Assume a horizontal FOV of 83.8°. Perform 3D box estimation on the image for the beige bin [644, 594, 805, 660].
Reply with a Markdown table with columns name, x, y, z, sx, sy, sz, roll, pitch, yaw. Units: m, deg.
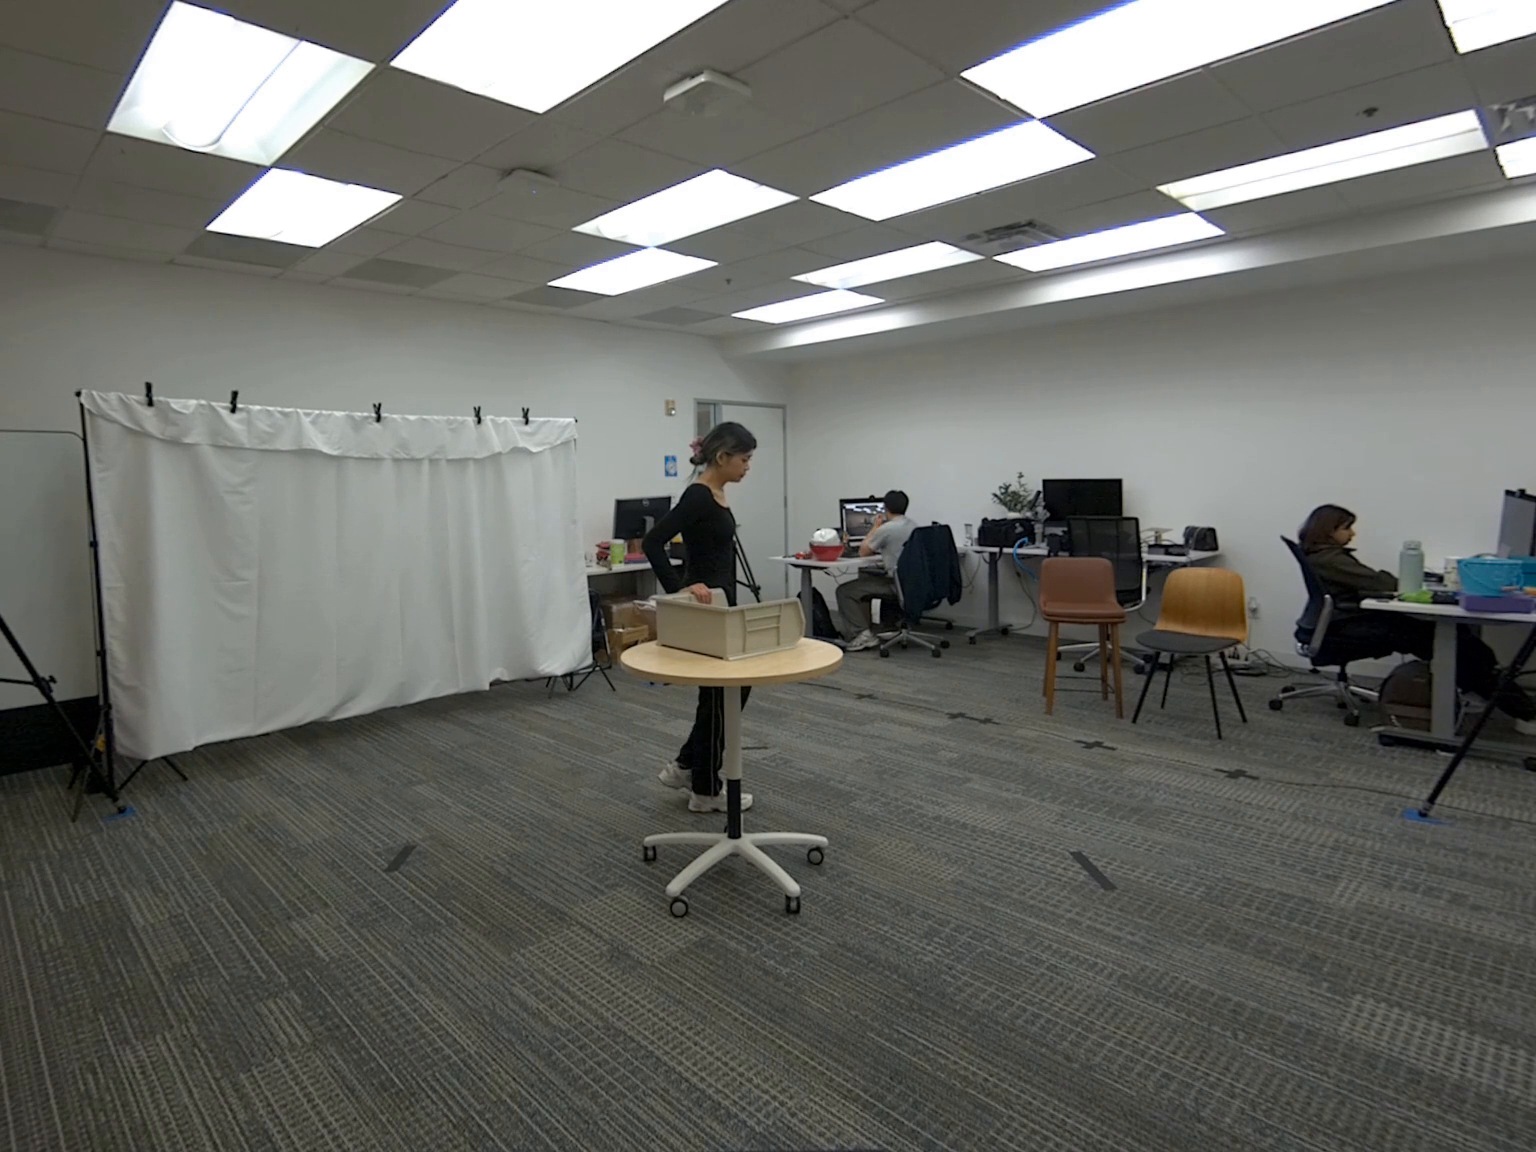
| name | x | y | z | sx | sy | sz | roll | pitch | yaw |
| --- | --- | --- | --- | --- | --- | --- | --- | --- | --- |
| beige bin | -0.142 | 0.163 | 3.086 | 0.368 | 0.188 | 0.436 | -8 | 10 | -42 |
